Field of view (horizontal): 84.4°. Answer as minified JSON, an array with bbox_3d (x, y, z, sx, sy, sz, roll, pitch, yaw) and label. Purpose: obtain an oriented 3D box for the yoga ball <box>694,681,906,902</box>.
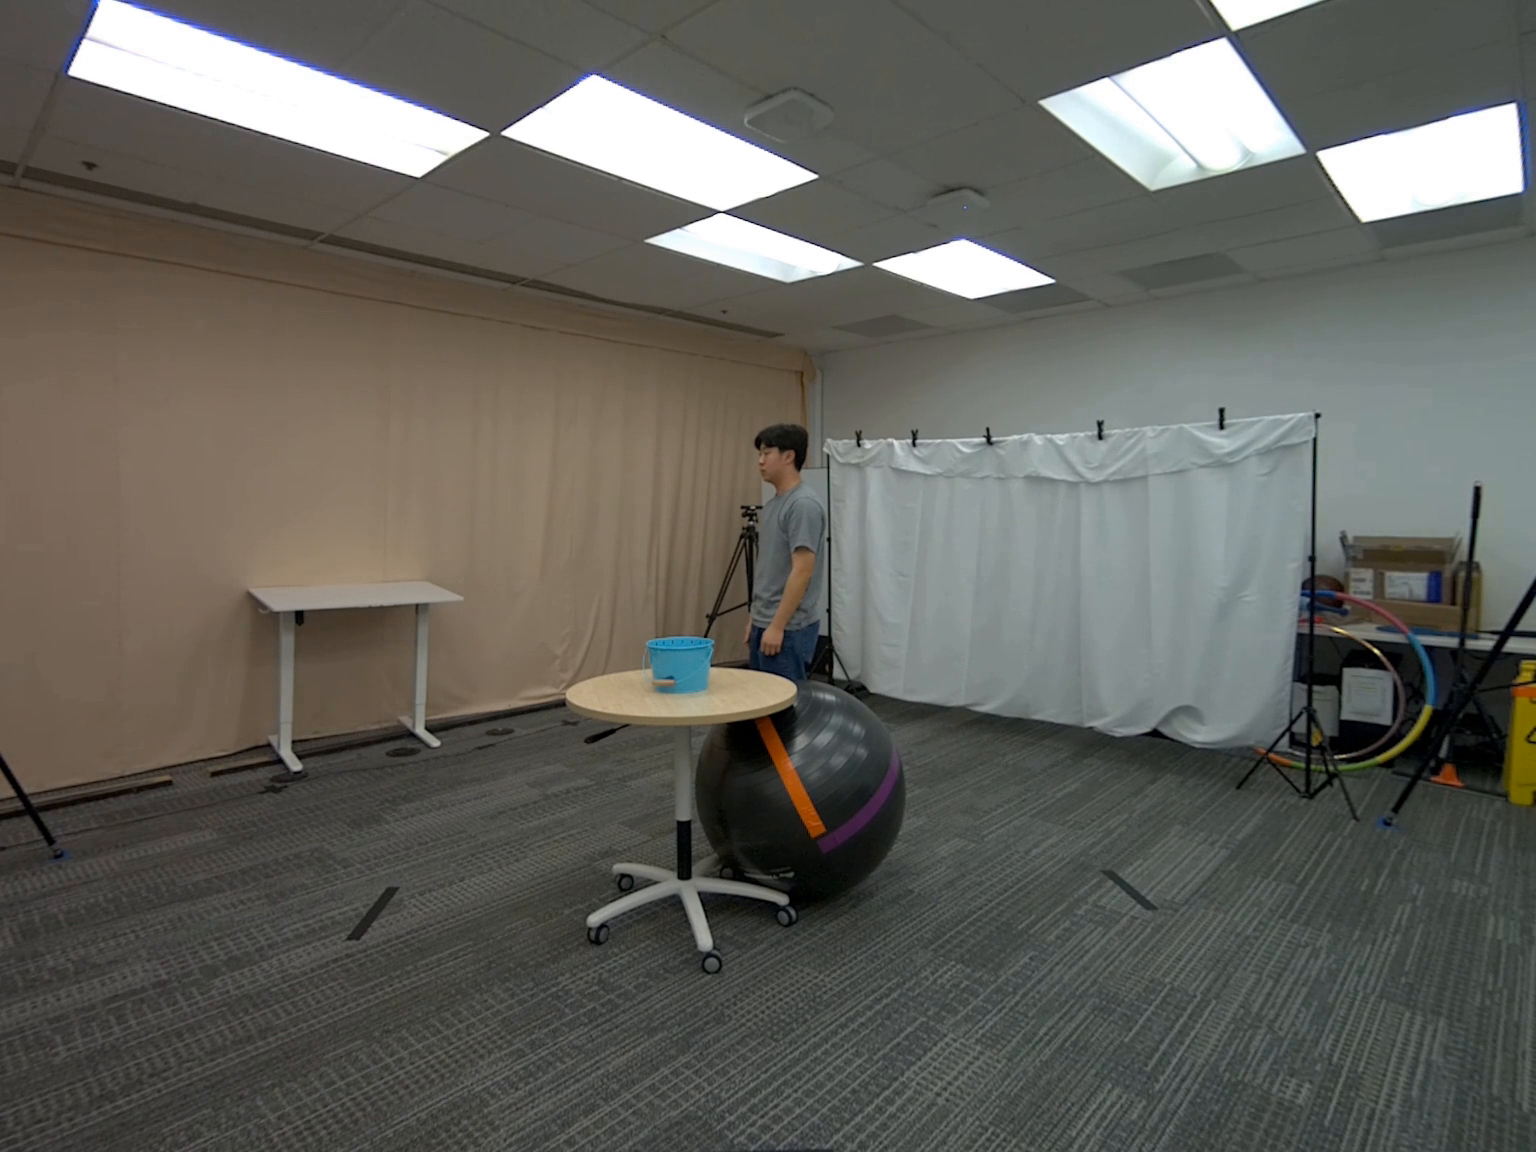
[{"bbox_3d":[0.129,0.769,3.058,0.757,0.756,0.760,0,4,-2],"label":"yoga ball"}]
